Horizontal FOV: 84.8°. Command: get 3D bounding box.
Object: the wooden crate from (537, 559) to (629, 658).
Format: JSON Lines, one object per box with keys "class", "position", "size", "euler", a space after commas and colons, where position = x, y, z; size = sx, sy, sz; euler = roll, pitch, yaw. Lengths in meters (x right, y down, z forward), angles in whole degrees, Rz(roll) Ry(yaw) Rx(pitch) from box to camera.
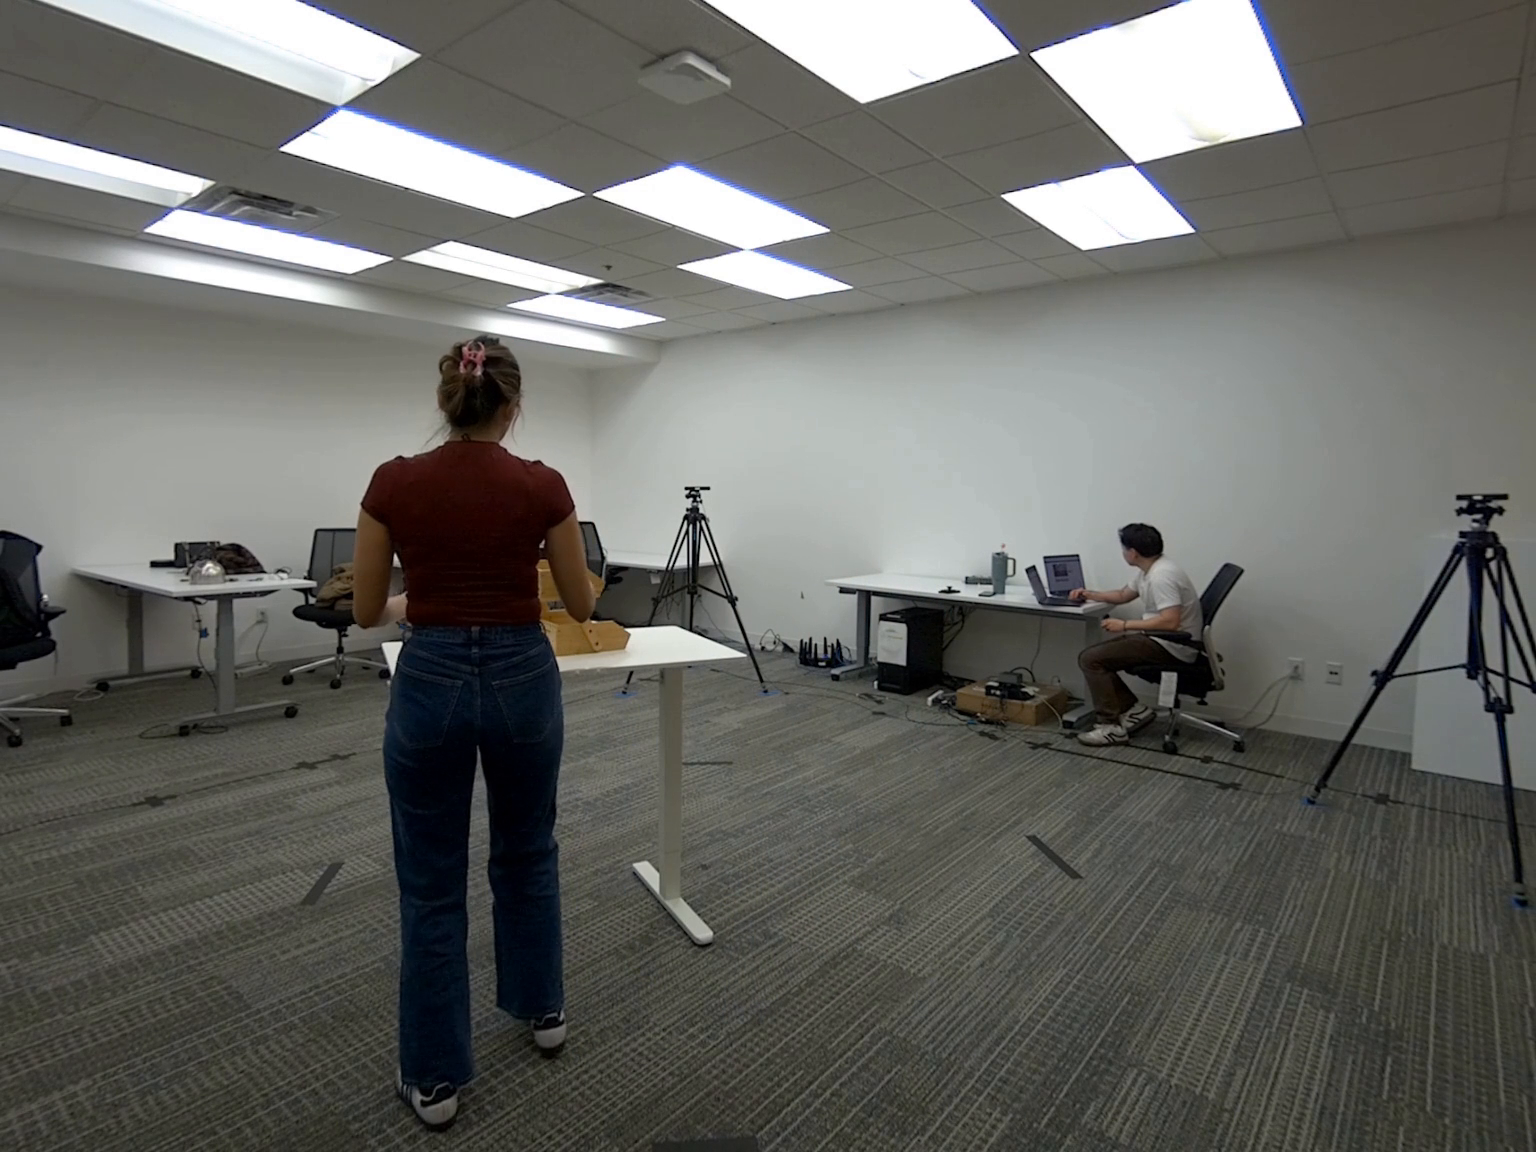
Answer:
{"class": "wooden crate", "position": [-0.650, 0.088, 2.696], "size": [0.293, 0.272, 0.335], "euler": [-3, 6, -37]}
